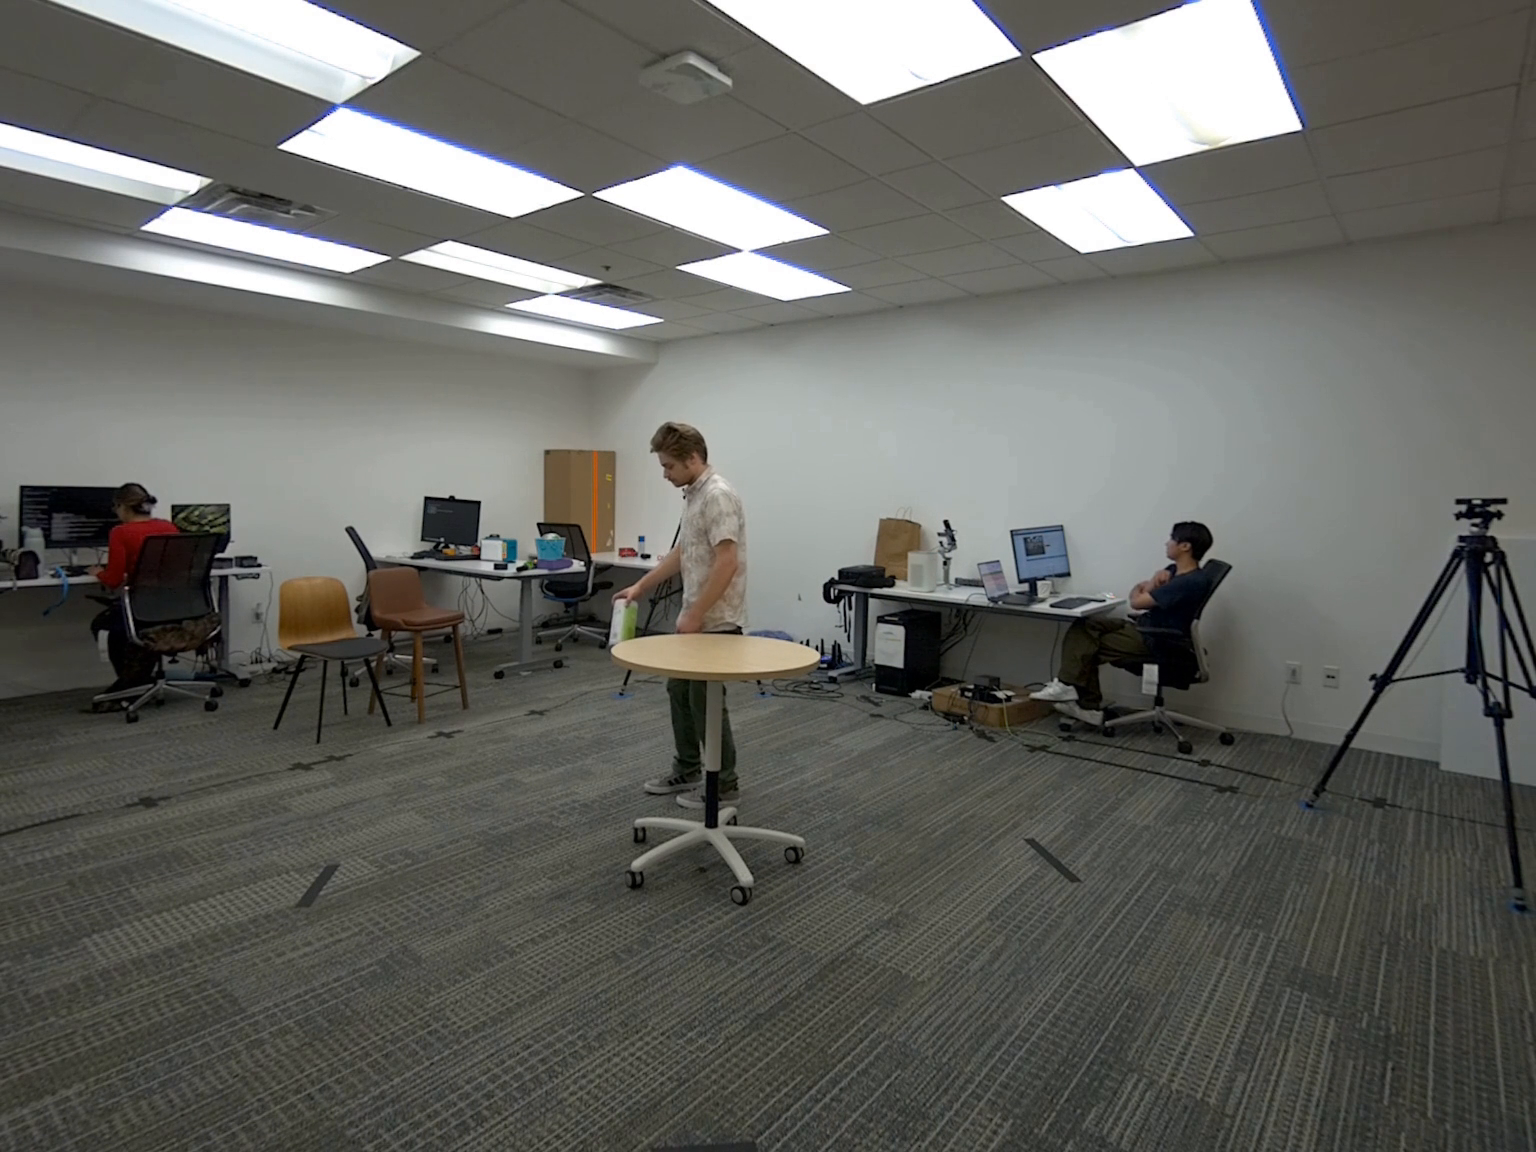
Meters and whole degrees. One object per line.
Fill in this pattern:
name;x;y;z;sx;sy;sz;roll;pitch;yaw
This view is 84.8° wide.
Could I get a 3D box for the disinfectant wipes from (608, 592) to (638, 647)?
disinfectant wipes;-0.669;0.218;3.856;0.118;0.221;0.116;4;-18;-1
